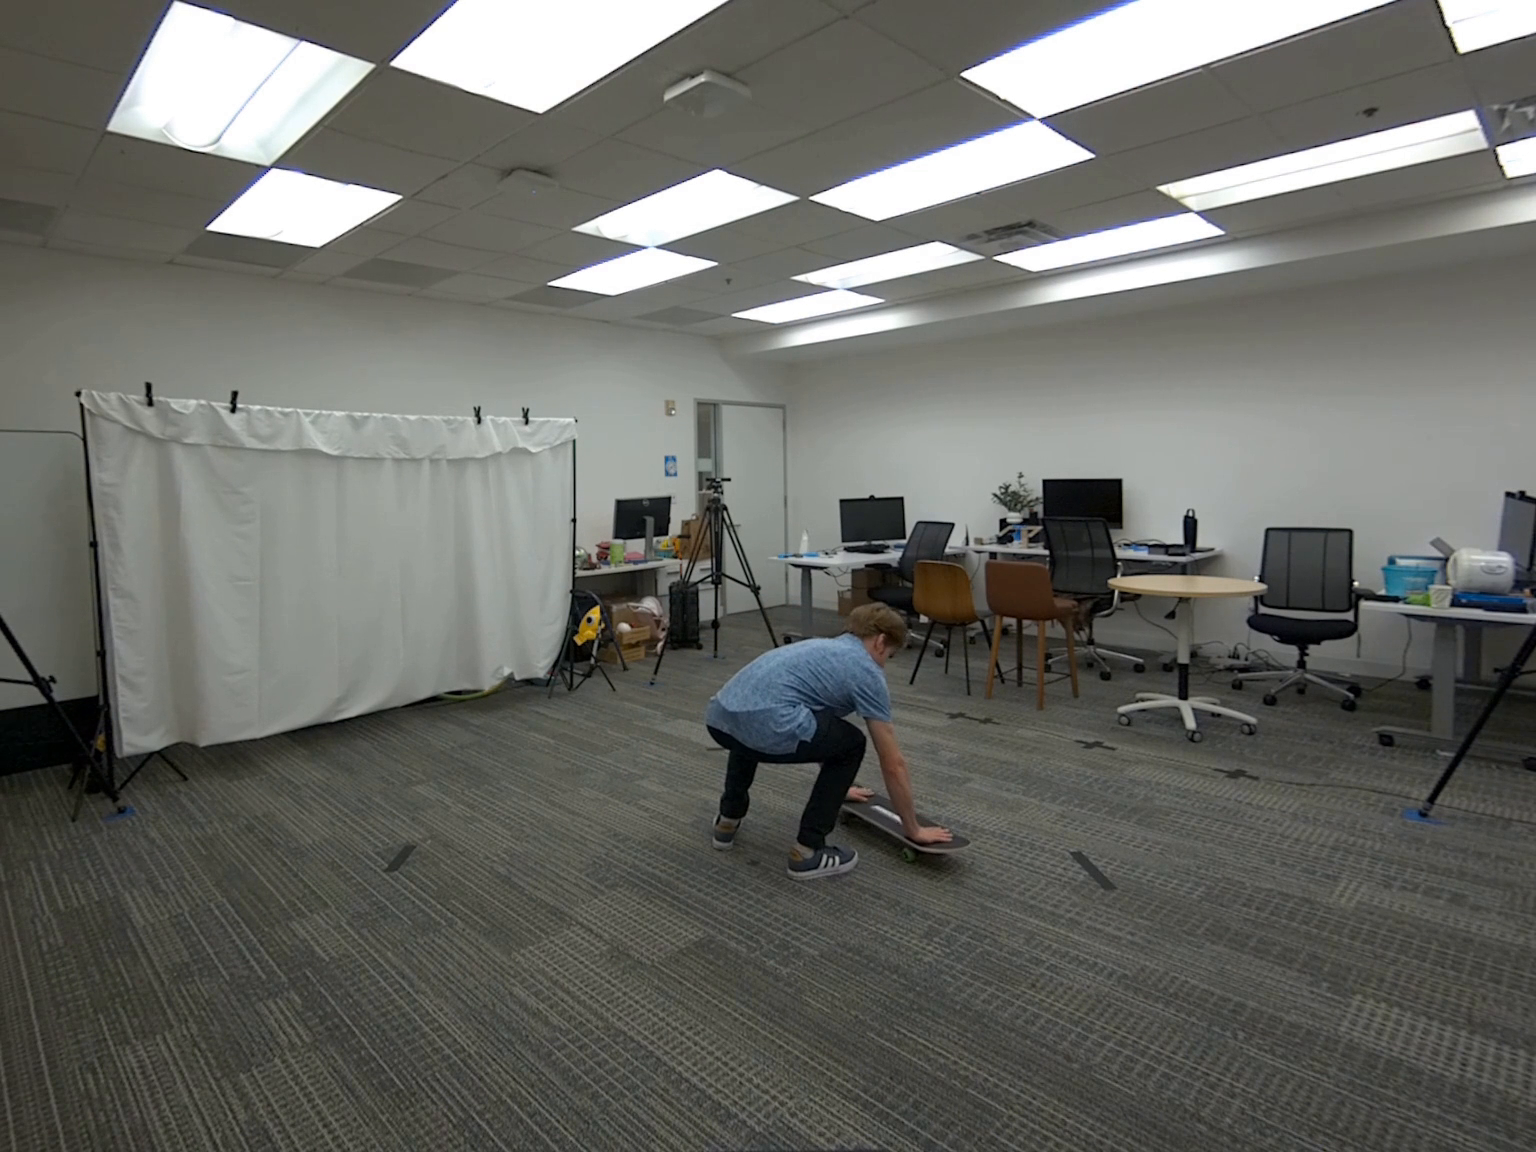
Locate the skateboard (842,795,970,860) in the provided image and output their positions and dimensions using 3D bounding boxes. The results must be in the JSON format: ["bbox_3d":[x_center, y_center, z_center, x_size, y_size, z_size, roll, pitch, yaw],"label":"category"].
[{"bbox_3d":[0.470,0.952,3.304,0.189,0.110,0.807,-2,6,-29],"label":"skateboard"}]
